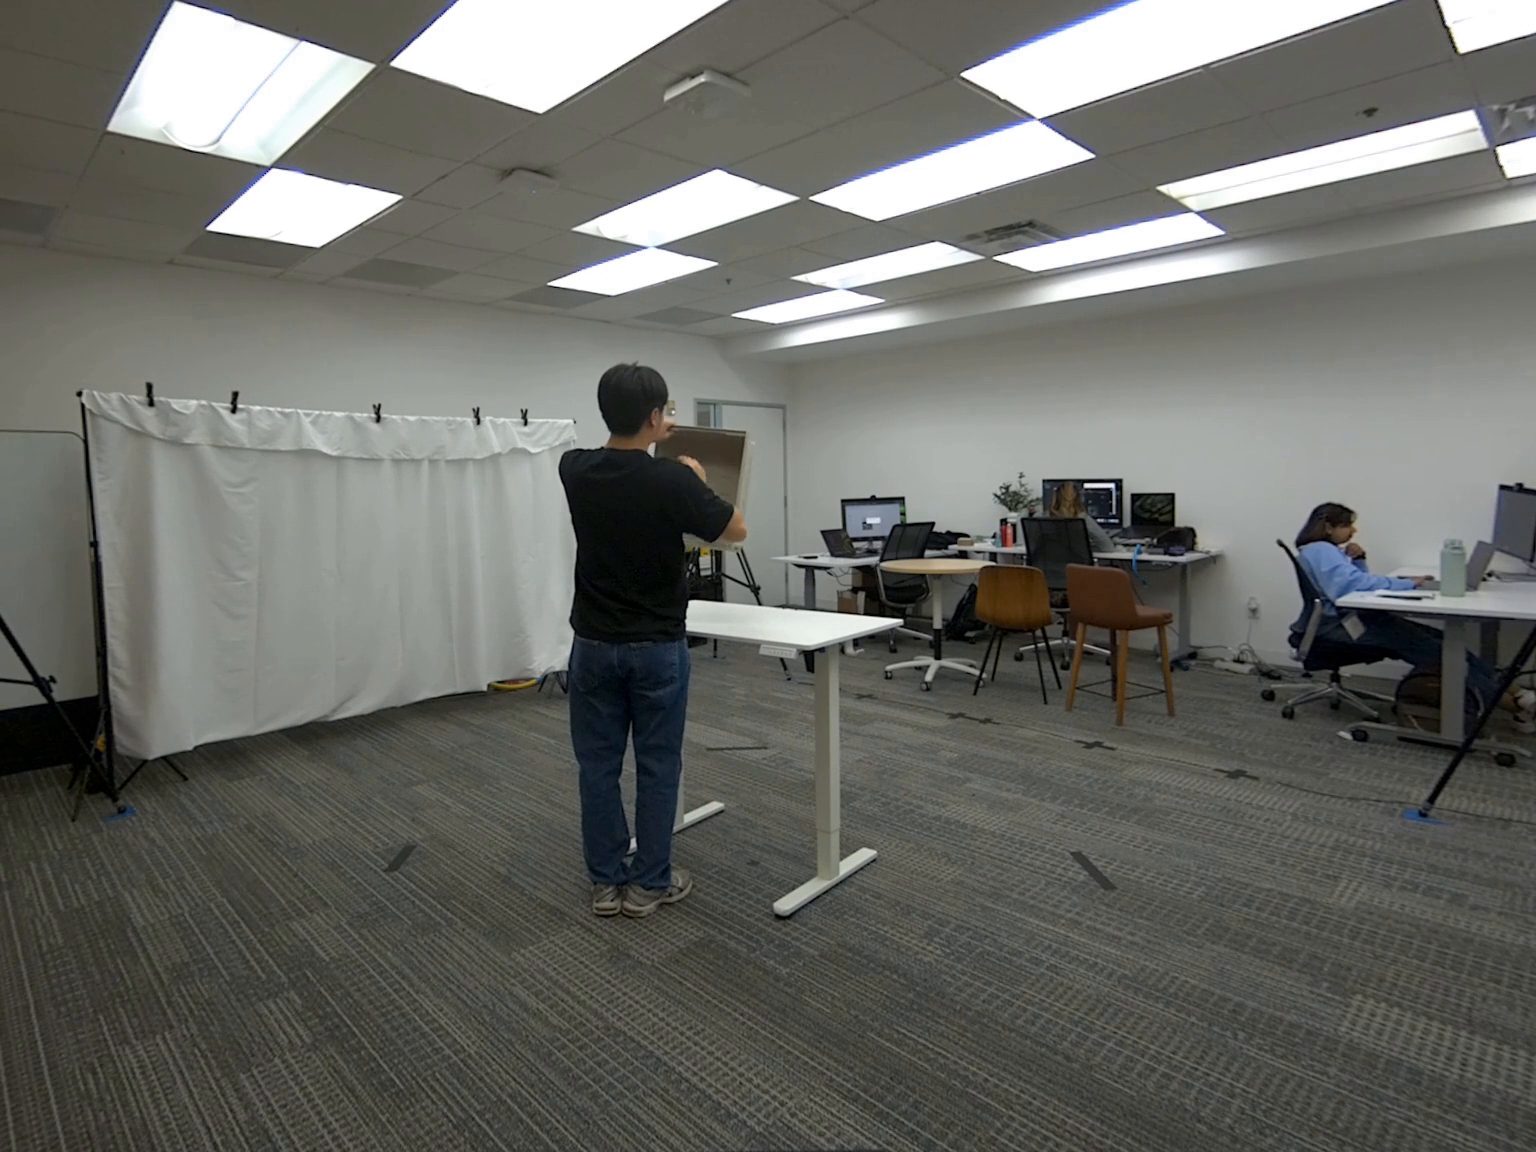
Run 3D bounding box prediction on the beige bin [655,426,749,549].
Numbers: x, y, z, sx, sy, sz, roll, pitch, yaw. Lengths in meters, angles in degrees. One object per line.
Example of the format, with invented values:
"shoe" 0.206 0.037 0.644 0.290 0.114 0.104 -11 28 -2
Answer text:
"beige bin" -0.256 -0.316 3.102 0.382 0.424 0.186 7 -5 11
